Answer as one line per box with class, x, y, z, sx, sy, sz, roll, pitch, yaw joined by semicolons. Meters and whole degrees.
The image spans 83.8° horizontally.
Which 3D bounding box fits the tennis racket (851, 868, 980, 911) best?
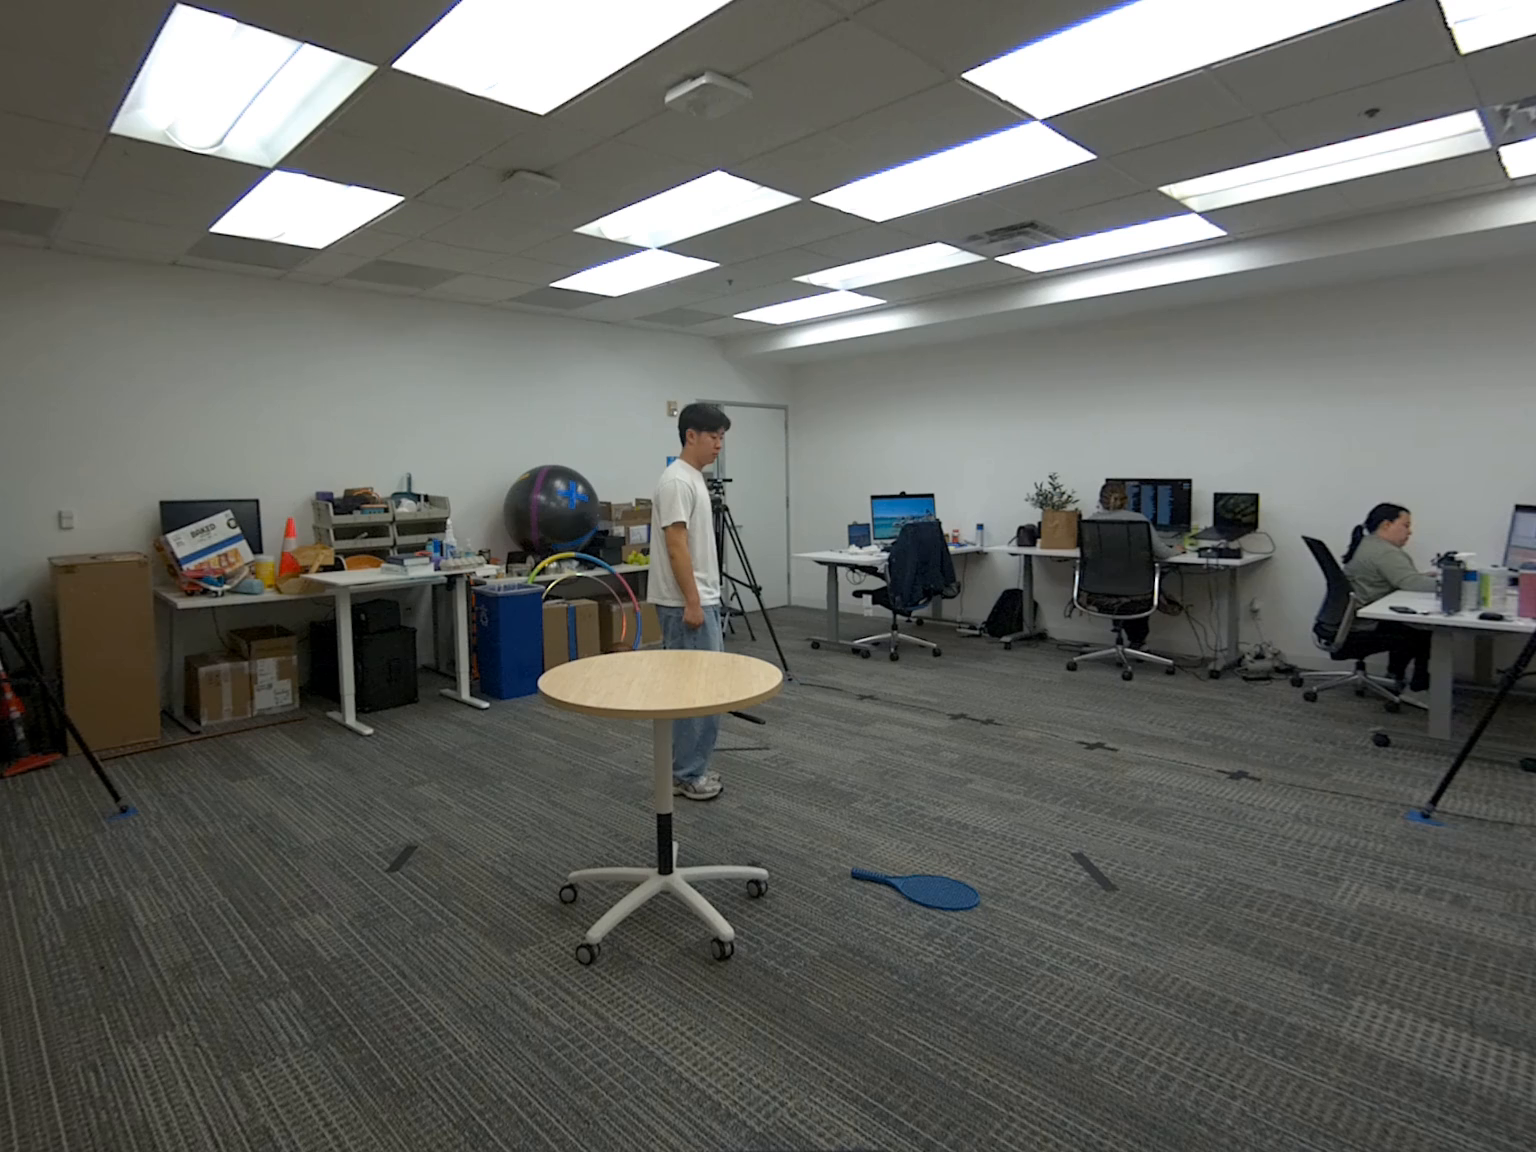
tennis racket;0.507;1.045;2.894;0.446;0.031;0.208;5;7;35
